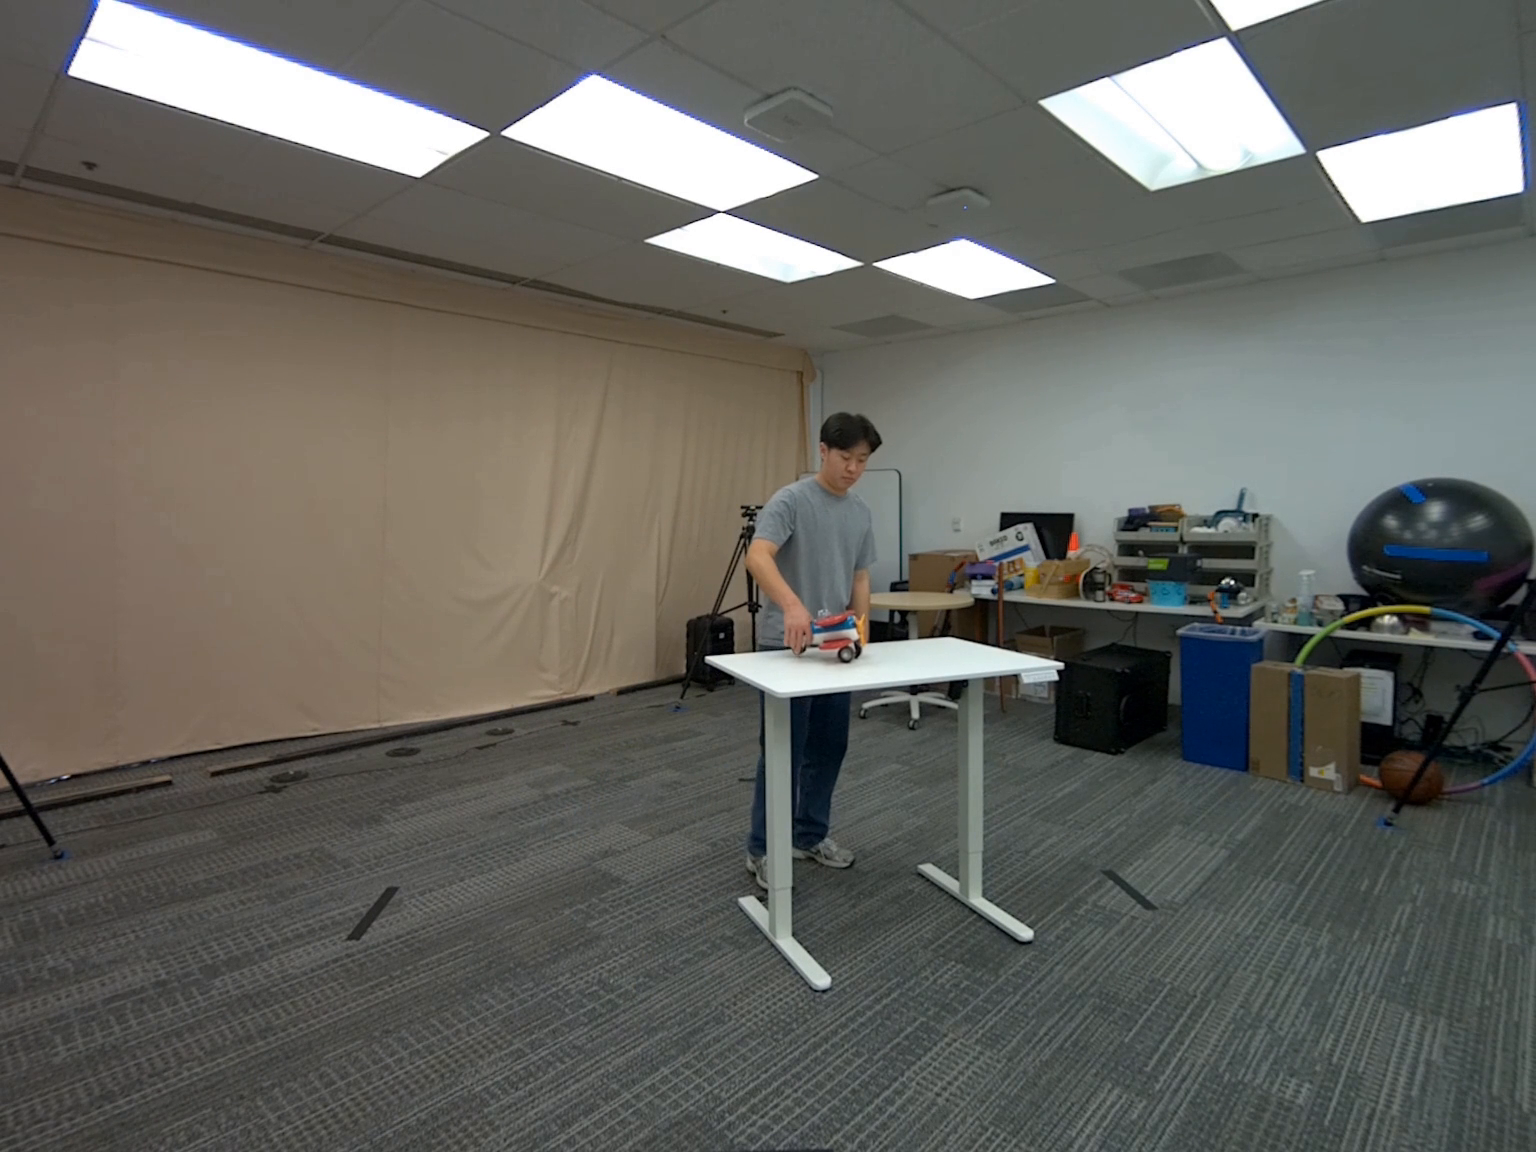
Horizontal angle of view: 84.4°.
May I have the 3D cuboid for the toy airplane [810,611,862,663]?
[{"bbox_3d":[0.191,0.196,2.773,0.258,0.156,0.253,2,5,-4],"label":"toy airplane"}]
